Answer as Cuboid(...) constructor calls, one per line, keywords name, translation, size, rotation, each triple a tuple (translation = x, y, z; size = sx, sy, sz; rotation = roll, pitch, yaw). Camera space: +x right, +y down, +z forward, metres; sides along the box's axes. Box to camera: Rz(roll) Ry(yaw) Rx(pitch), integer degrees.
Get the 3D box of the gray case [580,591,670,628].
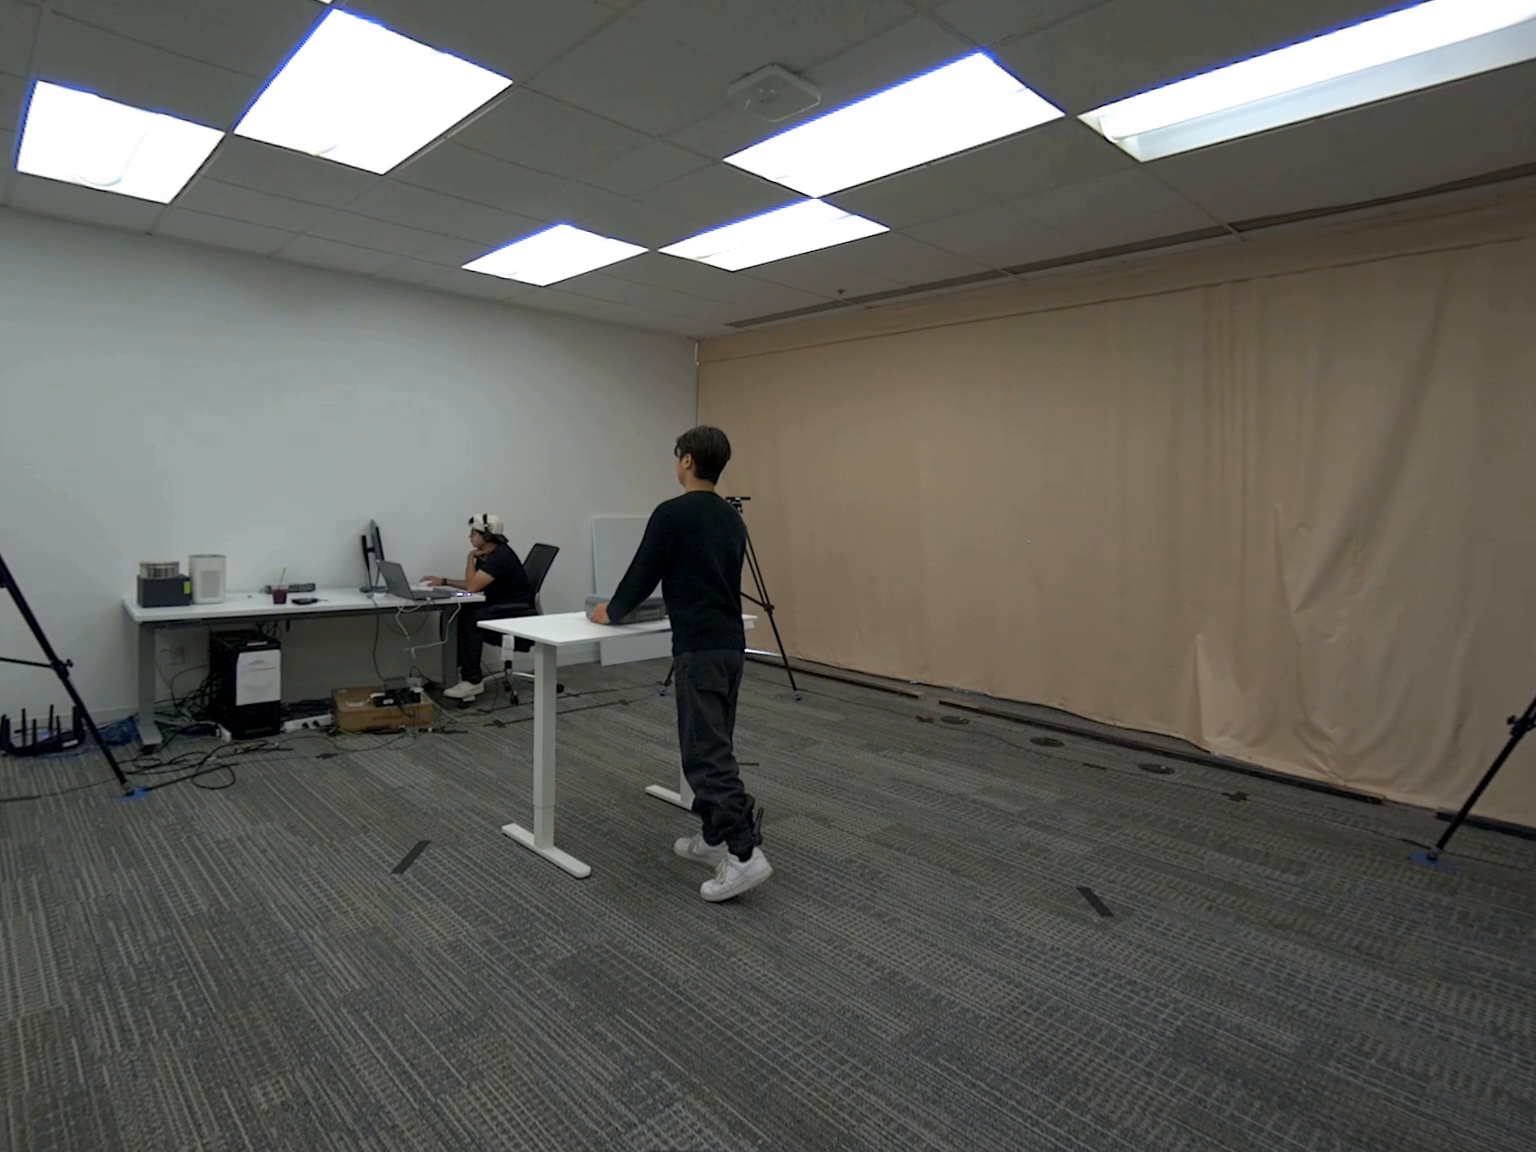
Cuboid(name="gray case", translation=(-0.587, 0.131, 3.484), size=(0.267, 0.104, 0.251), rotation=(6, 6, 39))
